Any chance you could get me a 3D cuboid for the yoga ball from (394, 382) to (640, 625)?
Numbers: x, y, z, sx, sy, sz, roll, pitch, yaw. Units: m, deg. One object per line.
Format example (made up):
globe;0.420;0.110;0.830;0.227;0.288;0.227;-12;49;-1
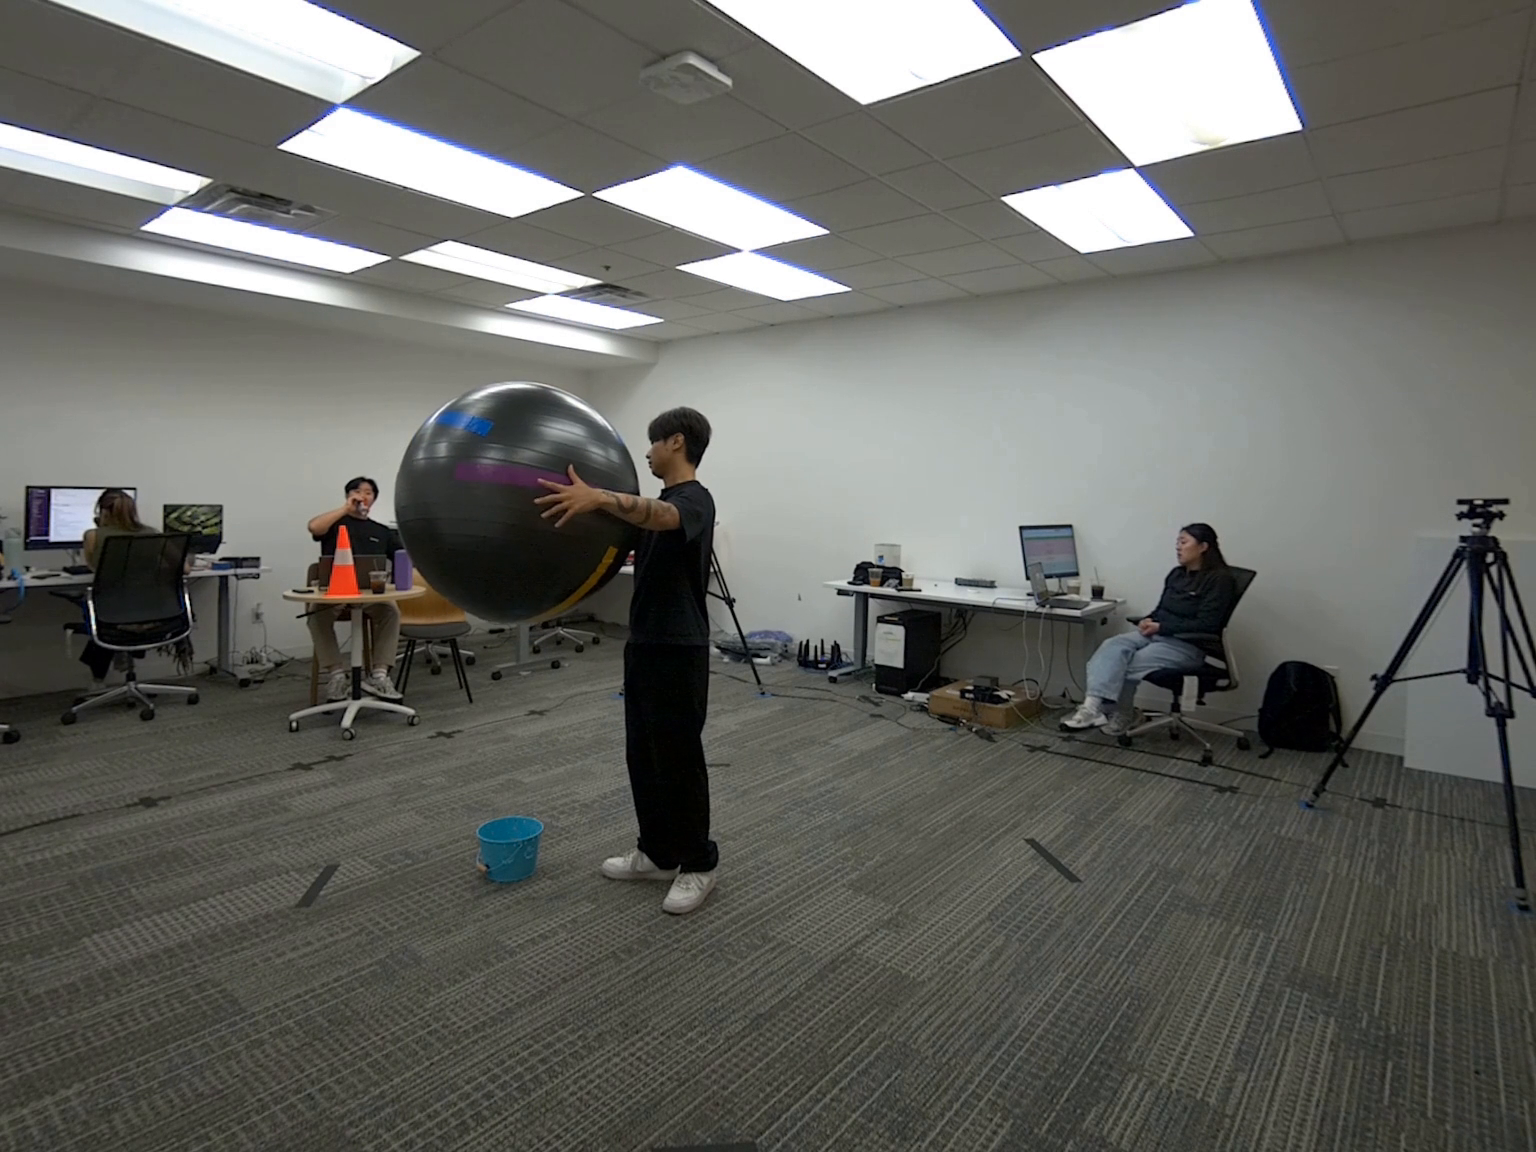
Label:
yoga ball;-0.805;-0.229;2.712;0.757;0.756;0.762;1;4;-2
